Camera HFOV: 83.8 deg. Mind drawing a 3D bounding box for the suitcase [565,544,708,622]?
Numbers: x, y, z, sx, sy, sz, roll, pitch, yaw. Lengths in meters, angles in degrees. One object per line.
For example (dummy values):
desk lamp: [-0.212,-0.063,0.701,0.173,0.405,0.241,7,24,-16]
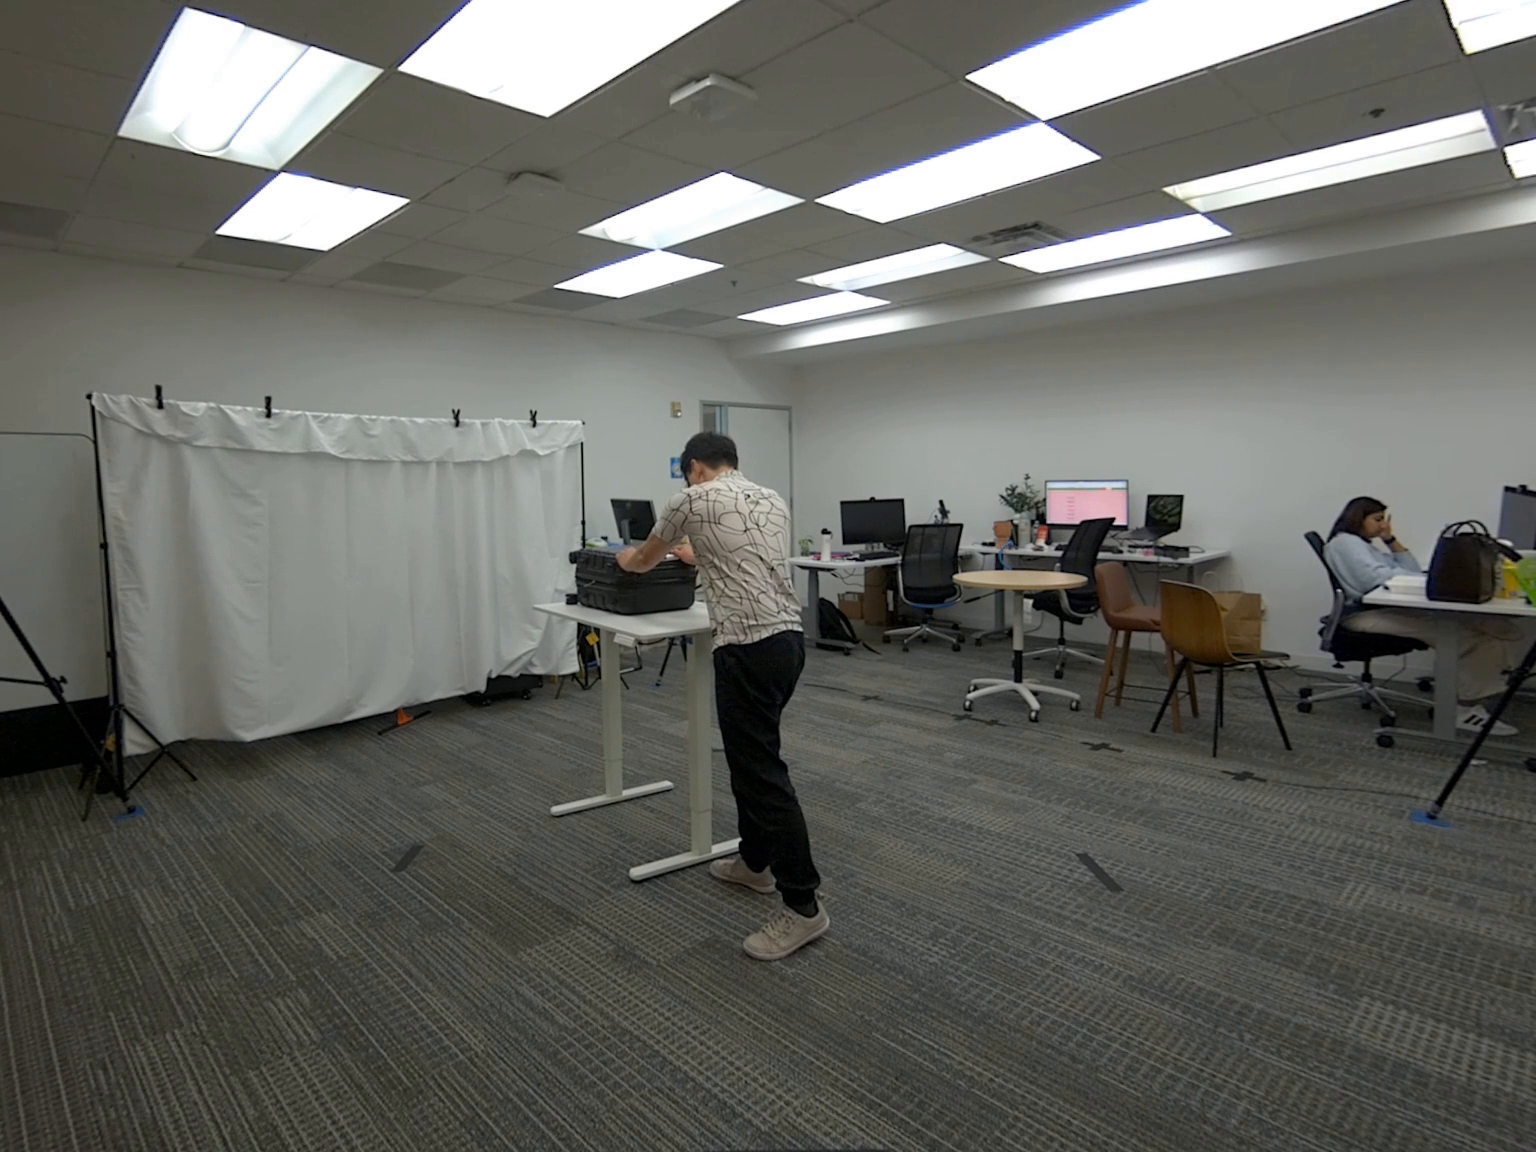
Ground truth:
suitcase: [-0.550,0.012,3.552,0.366,0.247,0.566,-4,6,-36]
